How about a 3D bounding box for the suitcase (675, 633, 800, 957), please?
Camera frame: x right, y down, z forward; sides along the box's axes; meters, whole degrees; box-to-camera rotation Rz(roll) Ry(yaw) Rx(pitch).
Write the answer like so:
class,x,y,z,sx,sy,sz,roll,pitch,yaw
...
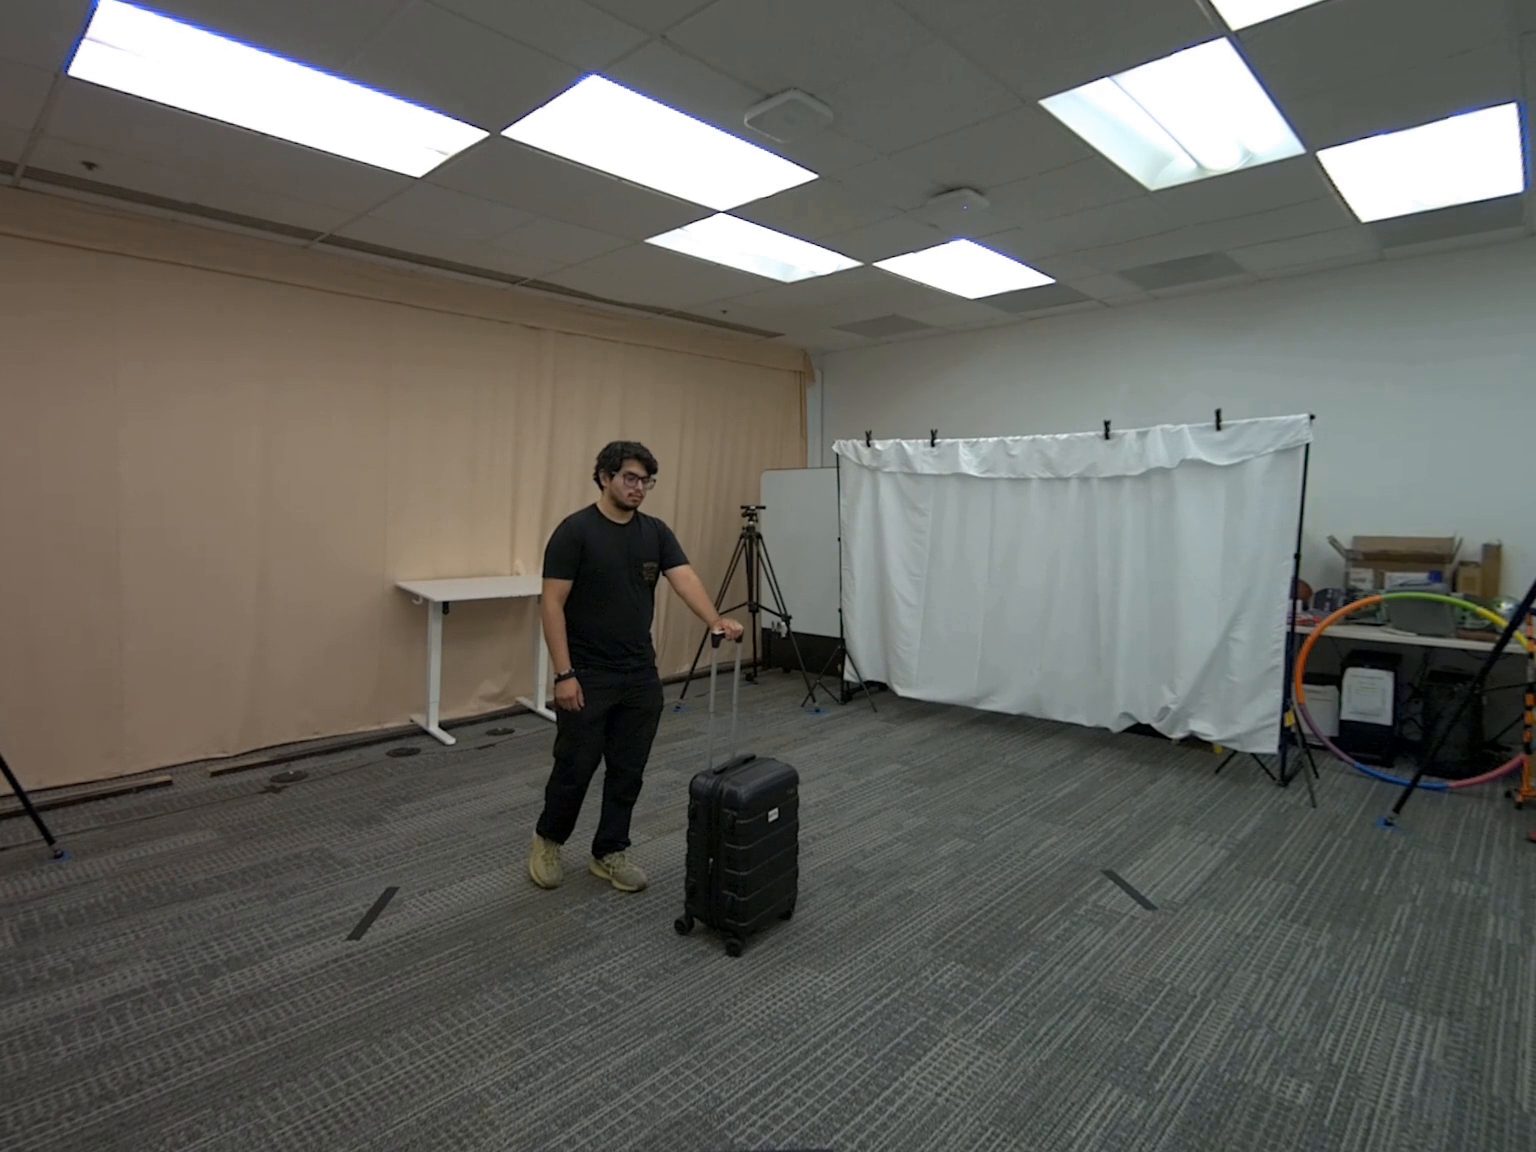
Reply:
class,x,y,z,sx,sy,sz,roll,pitch,yaw
suitcase,-0.067,0.687,2.751,0.265,0.975,0.373,8,7,35
